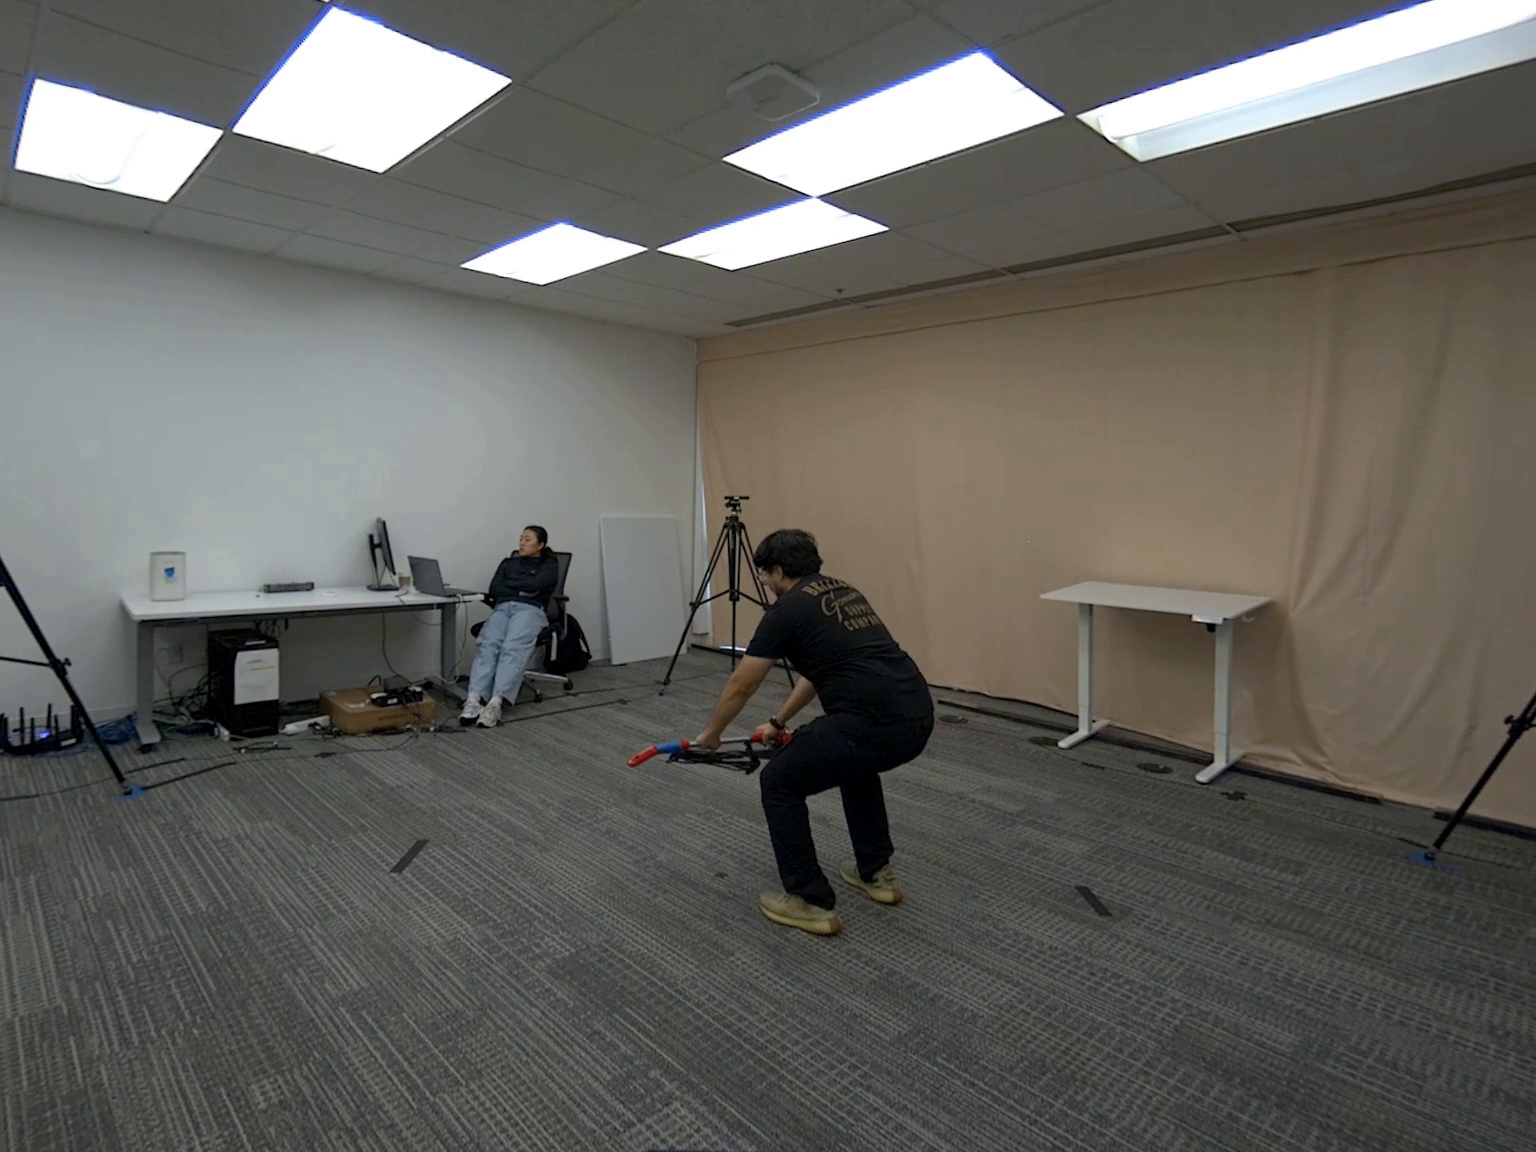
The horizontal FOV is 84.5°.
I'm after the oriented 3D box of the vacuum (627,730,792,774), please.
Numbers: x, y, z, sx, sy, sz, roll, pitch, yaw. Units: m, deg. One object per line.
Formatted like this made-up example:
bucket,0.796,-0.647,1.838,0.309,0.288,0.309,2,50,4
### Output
vacuum,-0.098,0.657,3.165,1.023,0.143,0.260,4,15,-42
